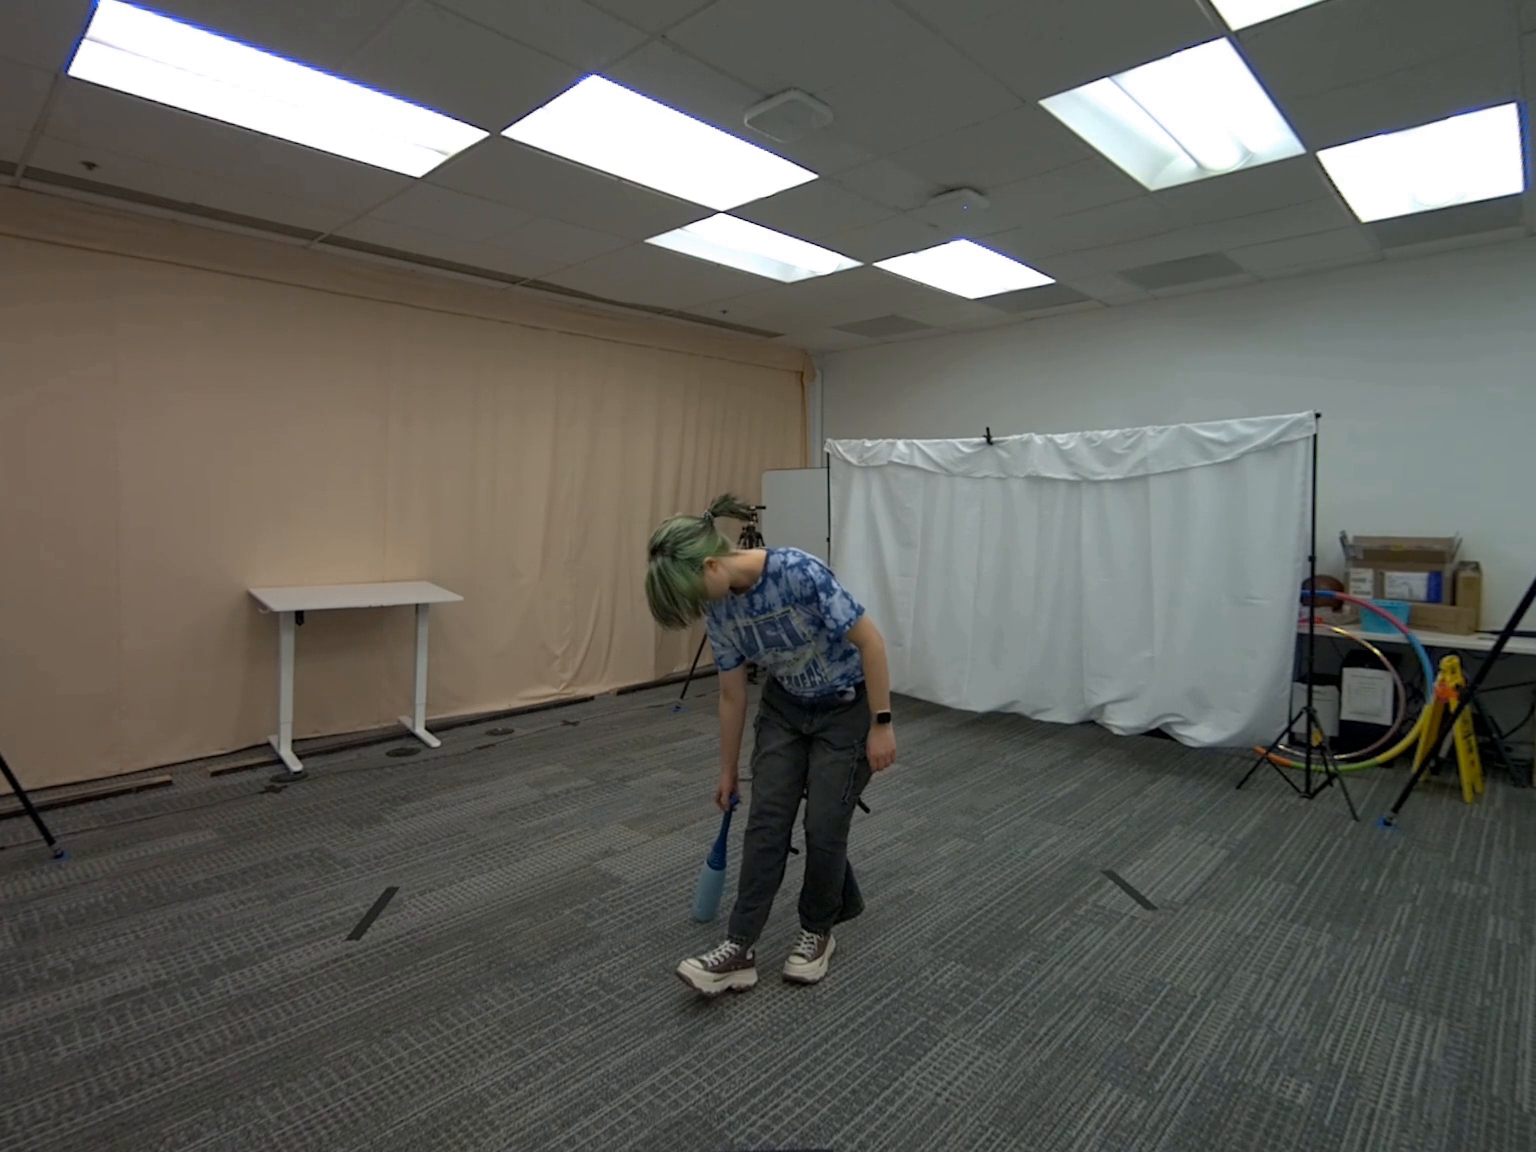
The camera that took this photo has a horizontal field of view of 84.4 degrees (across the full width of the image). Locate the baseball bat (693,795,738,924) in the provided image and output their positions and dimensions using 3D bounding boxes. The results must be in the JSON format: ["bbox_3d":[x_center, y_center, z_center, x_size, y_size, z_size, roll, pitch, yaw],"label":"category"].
[{"bbox_3d":[-0.169,0.920,2.723,0.088,0.538,0.090,9,29,-7],"label":"baseball bat"}]
